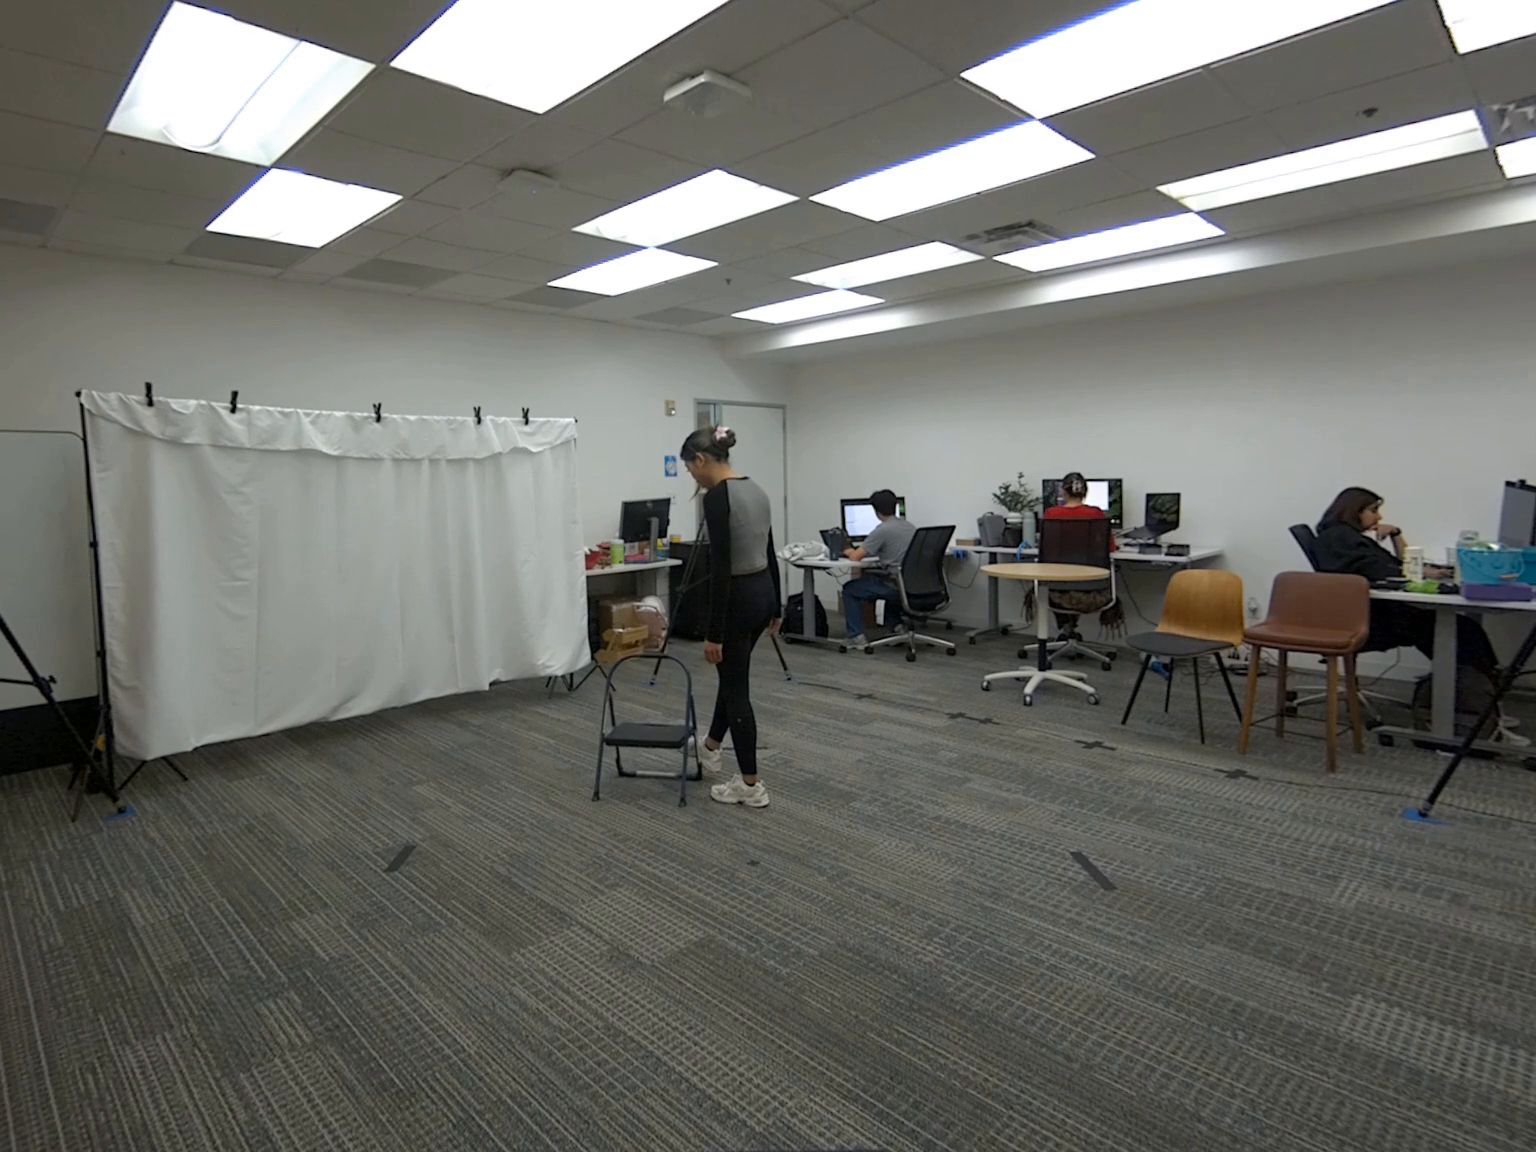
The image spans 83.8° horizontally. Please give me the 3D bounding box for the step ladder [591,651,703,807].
[{"bbox_3d":[-0.540,0.669,3.850,0.436,0.604,0.346,-1,4,12],"label":"step ladder"}]
